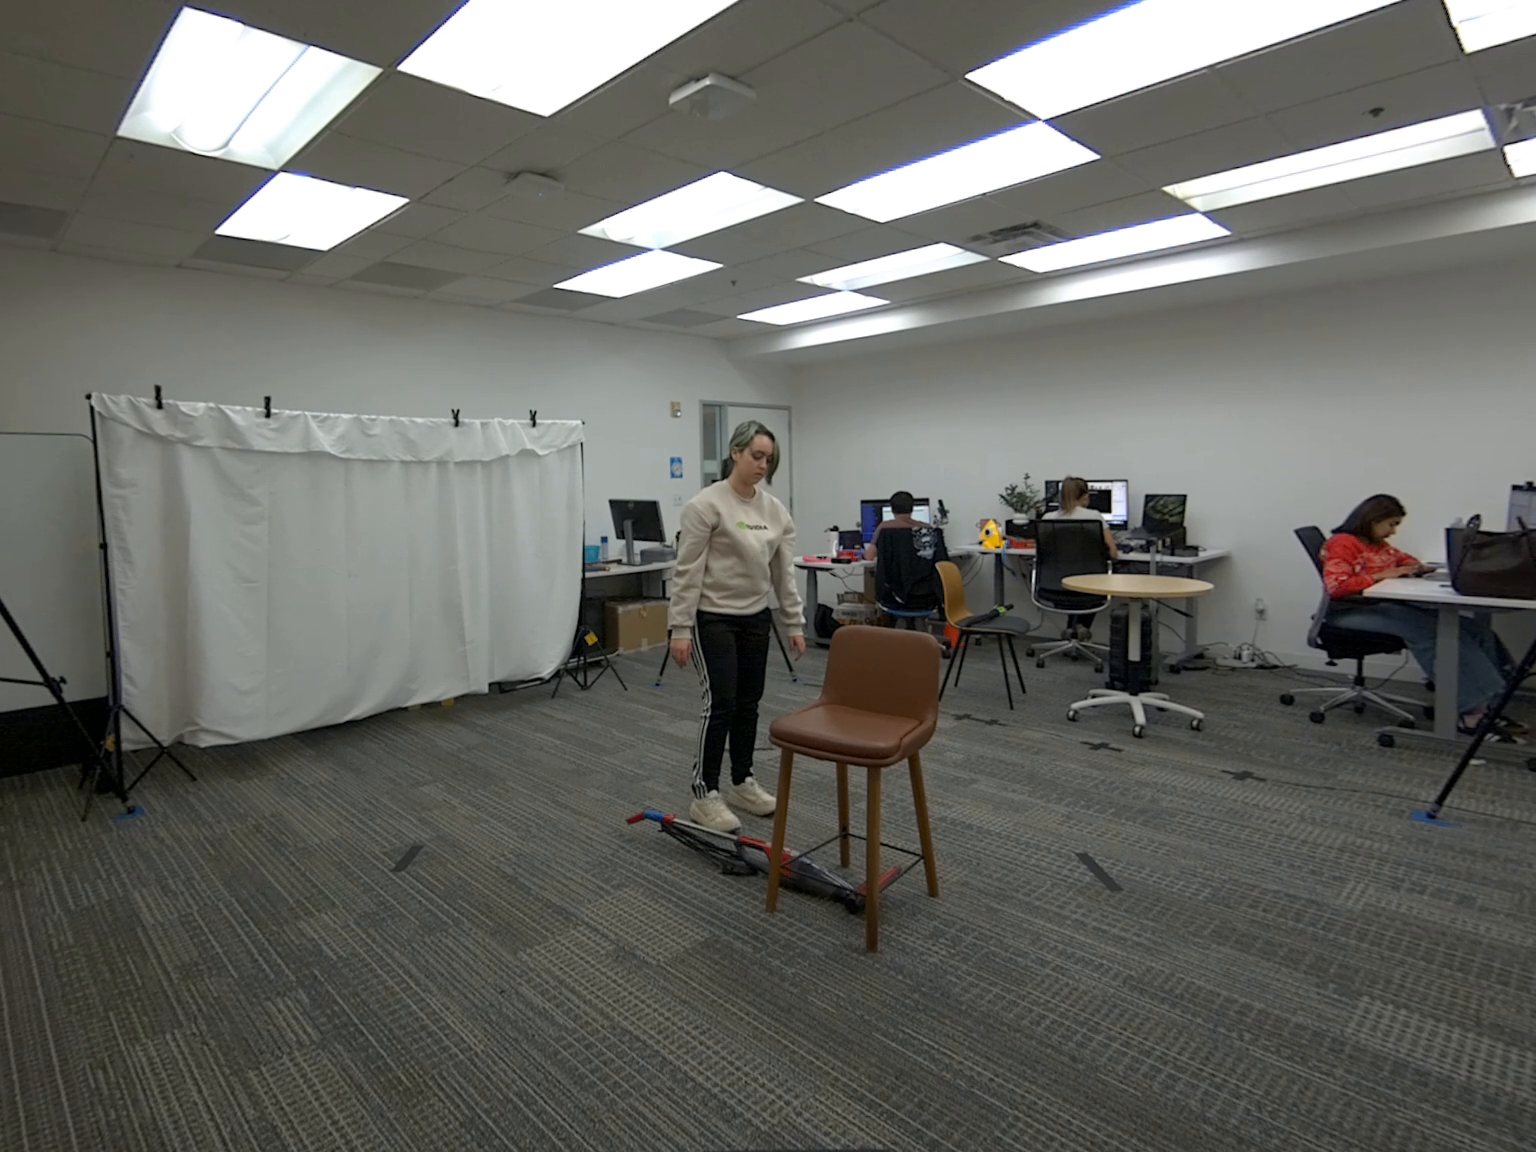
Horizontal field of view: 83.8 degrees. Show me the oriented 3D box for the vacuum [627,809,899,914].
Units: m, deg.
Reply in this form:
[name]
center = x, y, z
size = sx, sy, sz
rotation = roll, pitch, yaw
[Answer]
[vacuum]
center = -0.104, 1.004, 3.060
size = 1.079, 0.143, 0.246
rotation = 3, 5, 35
